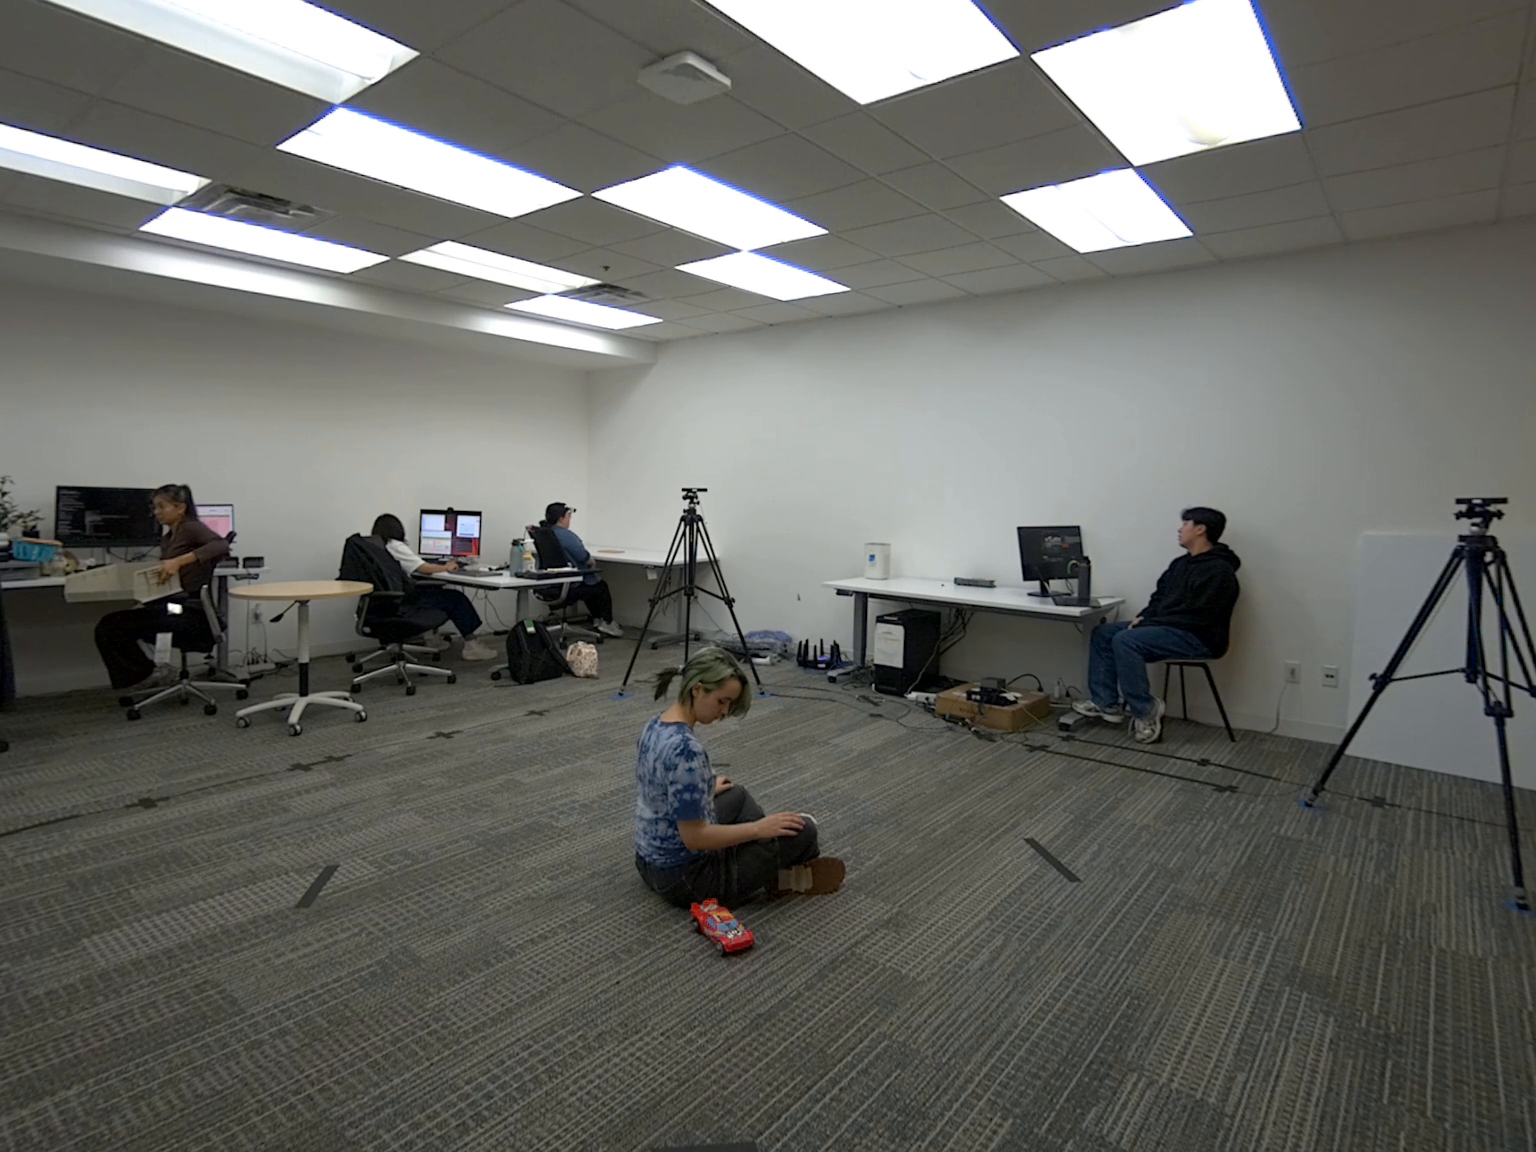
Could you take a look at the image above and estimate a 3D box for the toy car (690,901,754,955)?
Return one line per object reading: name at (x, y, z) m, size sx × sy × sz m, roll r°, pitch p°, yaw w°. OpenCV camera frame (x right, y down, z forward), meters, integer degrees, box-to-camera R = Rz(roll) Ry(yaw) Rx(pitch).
toy car at (-0.155, 1.081, 2.639) m, size 0.127 × 0.082 × 0.264 m, roll -2°, pitch 17°, yaw -32°
